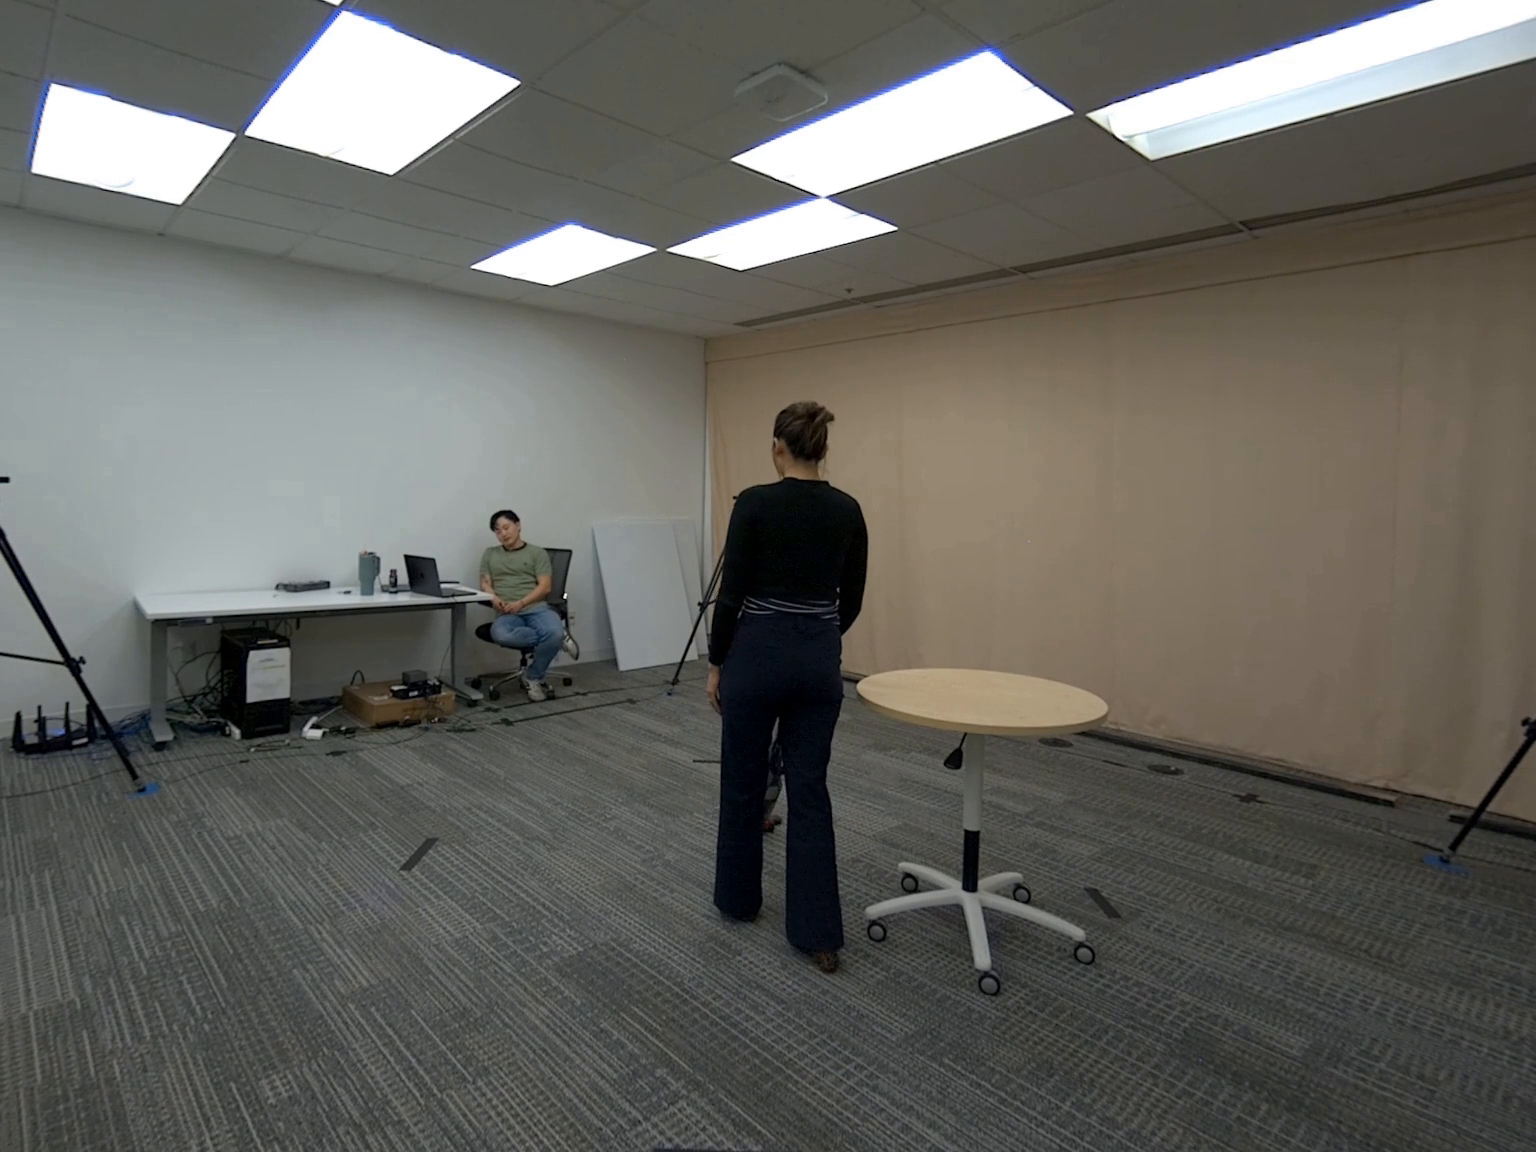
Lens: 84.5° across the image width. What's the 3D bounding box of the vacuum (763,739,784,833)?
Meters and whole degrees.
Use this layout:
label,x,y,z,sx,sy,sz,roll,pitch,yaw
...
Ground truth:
label,x,y,z,sx,sy,sz,roll,pitch,yaw
vacuum,0.038,0.682,3.230,0.249,1.032,0.148,-2,43,-17
